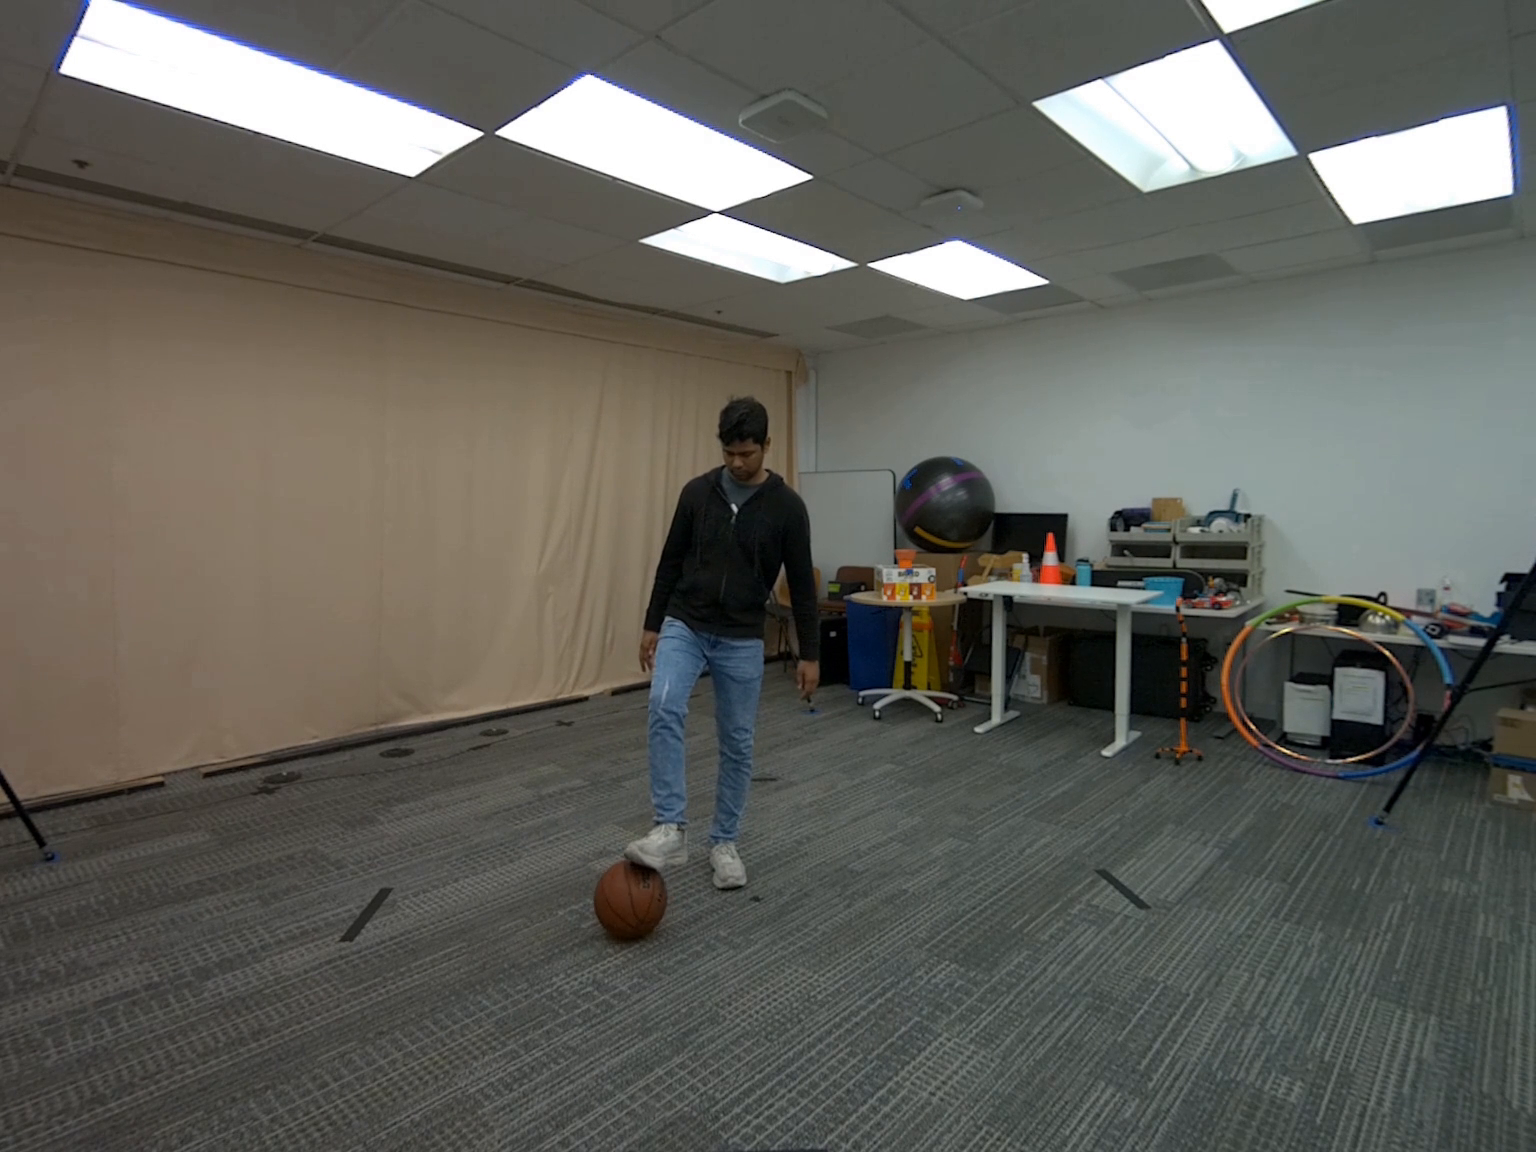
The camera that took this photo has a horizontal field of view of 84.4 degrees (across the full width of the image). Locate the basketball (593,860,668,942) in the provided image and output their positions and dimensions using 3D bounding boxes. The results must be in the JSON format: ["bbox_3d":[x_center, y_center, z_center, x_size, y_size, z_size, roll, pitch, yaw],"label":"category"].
[{"bbox_3d":[-0.452,1.047,2.747,0.236,0.235,0.237,0,4,-2],"label":"basketball"}]
